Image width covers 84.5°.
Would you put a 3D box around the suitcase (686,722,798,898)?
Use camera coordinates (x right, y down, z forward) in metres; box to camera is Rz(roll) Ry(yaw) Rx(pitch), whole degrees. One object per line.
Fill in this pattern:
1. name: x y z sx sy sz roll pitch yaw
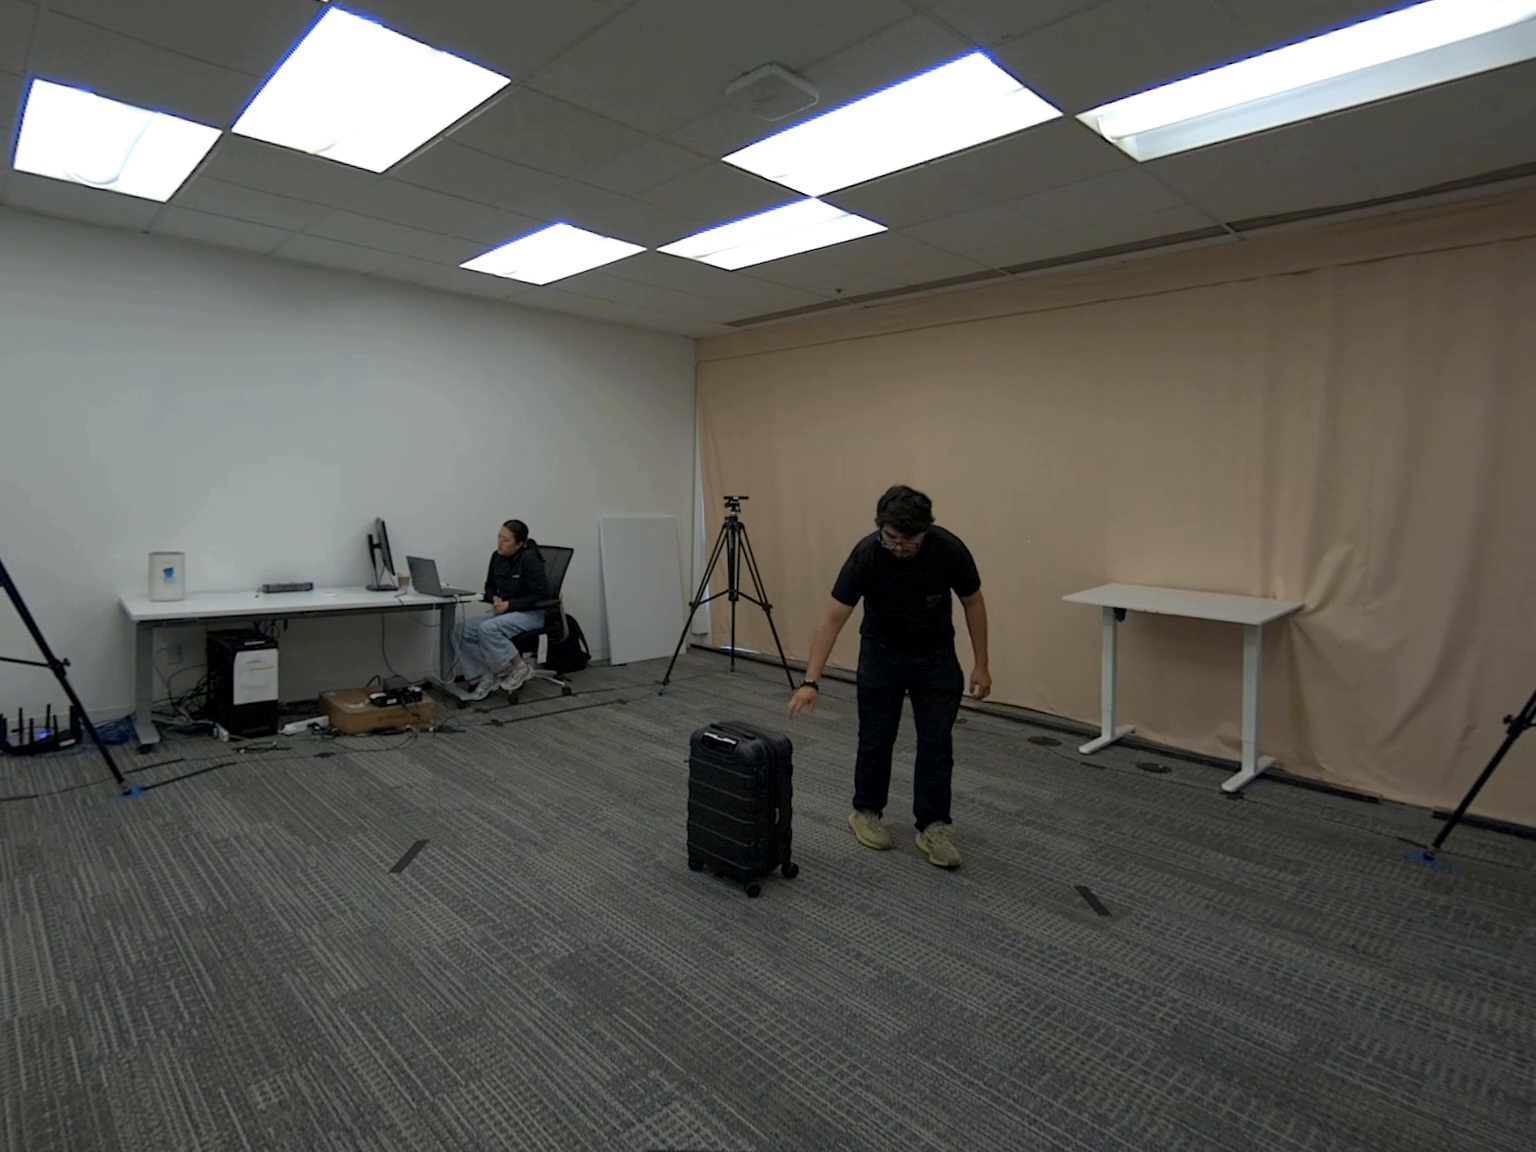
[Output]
1. suitcase: -0.107 0.830 3.109 0.385 0.548 0.243 3 4 44
